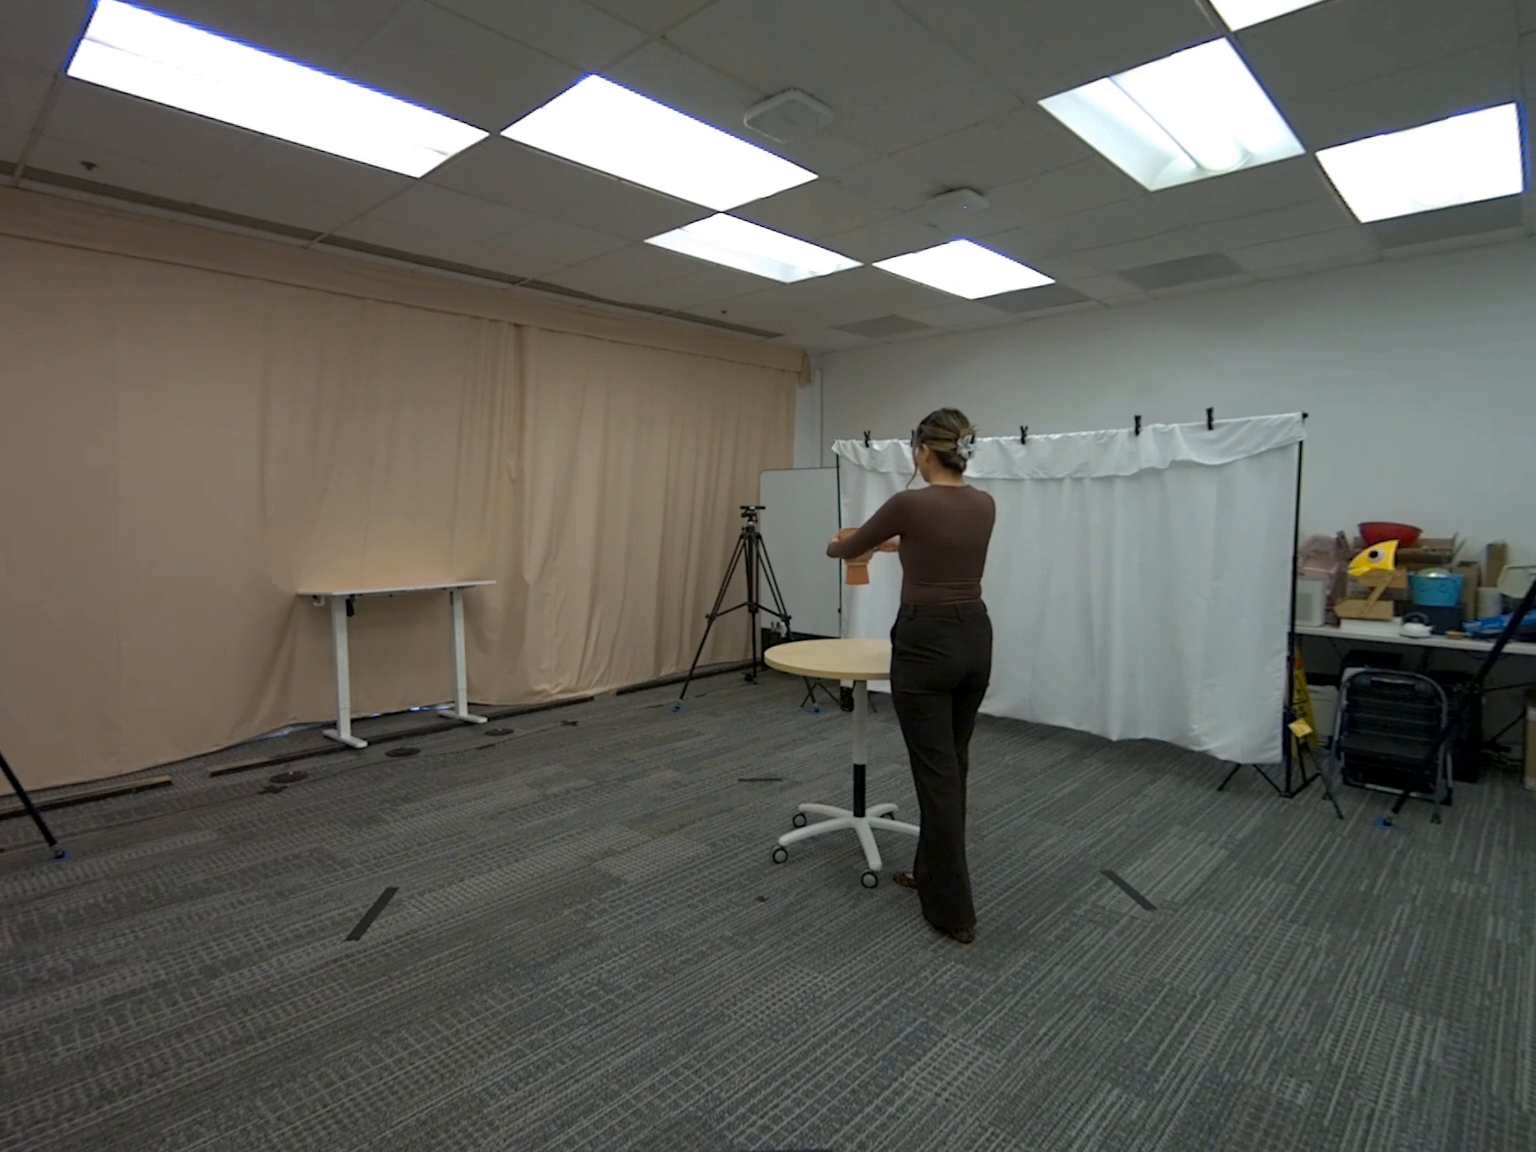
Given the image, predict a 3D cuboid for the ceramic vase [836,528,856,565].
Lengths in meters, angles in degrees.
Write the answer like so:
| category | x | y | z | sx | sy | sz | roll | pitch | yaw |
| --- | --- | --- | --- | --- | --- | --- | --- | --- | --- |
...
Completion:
| category | x | y | z | sx | sy | sz | roll | pitch | yaw |
| --- | --- | --- | --- | --- | --- | --- | --- | --- | --- |
| ceramic vase | 0.360 | -0.080 | 3.370 | 0.139 | 0.219 | 0.154 | 3 | 4 | 34 |
